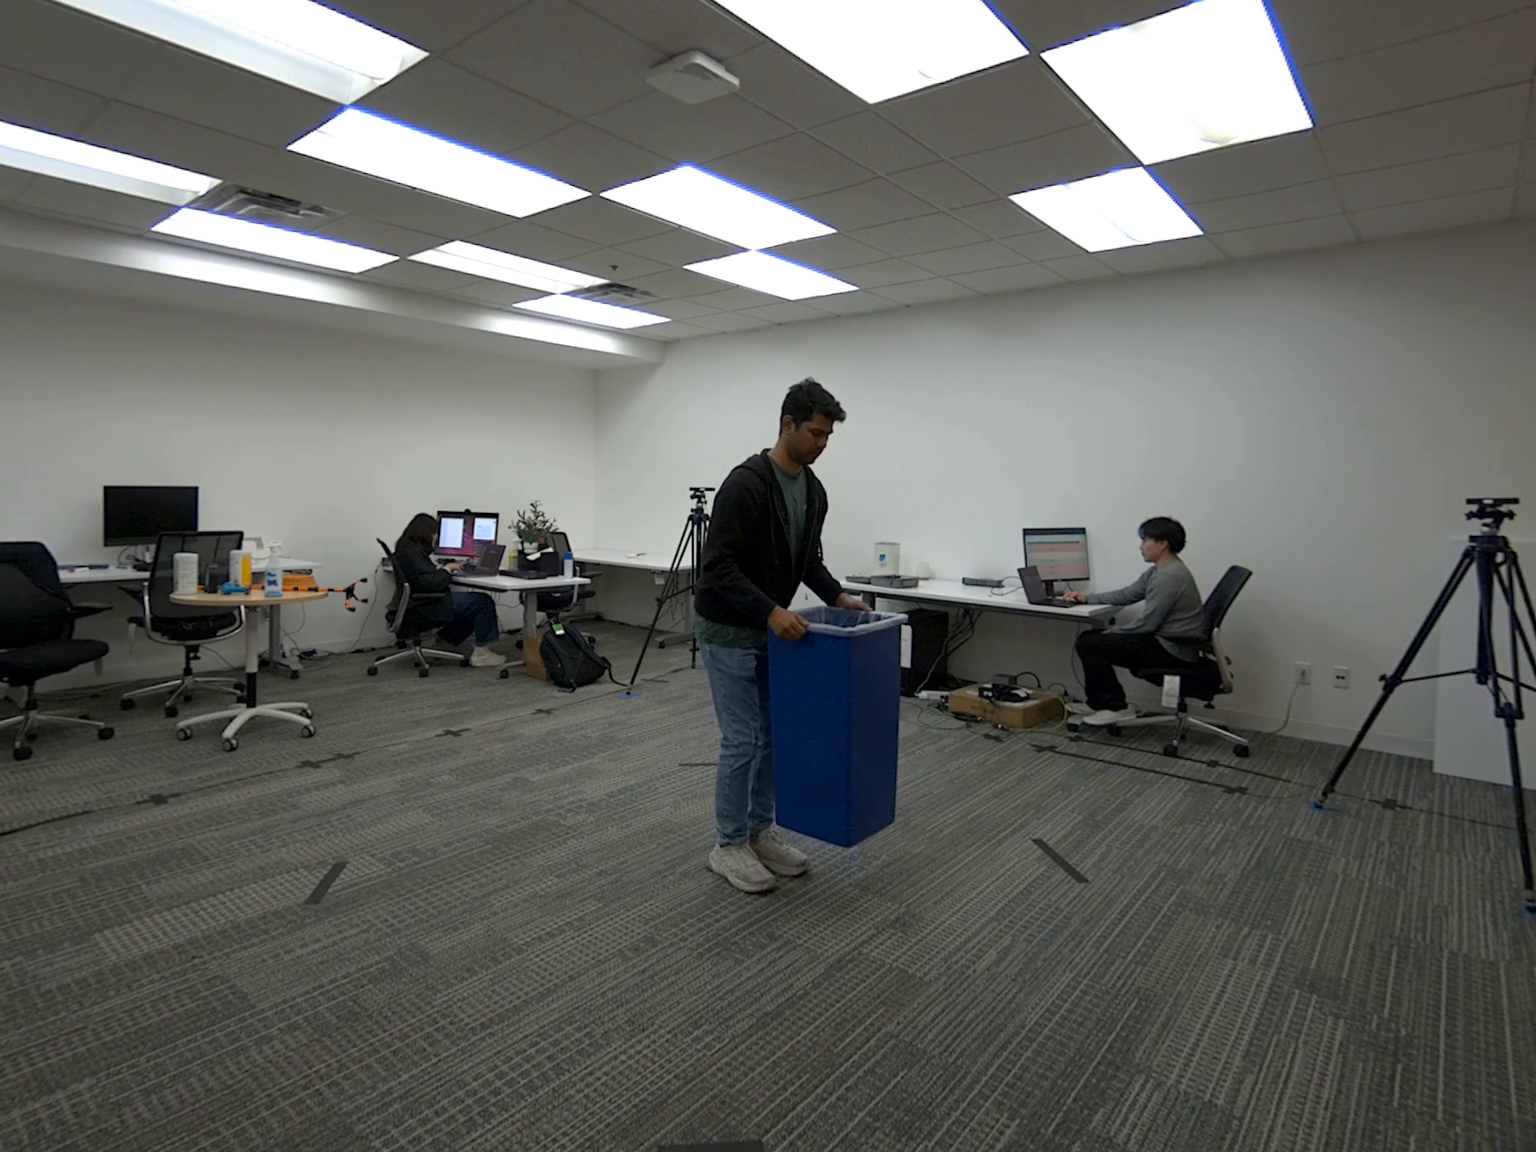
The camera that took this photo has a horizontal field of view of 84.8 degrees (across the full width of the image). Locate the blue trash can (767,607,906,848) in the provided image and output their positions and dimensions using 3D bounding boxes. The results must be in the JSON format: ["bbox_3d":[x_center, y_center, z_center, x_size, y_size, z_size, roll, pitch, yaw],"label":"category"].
[{"bbox_3d":[0.219,0.494,2.879,0.390,0.711,0.363,3,5,39],"label":"blue trash can"}]
